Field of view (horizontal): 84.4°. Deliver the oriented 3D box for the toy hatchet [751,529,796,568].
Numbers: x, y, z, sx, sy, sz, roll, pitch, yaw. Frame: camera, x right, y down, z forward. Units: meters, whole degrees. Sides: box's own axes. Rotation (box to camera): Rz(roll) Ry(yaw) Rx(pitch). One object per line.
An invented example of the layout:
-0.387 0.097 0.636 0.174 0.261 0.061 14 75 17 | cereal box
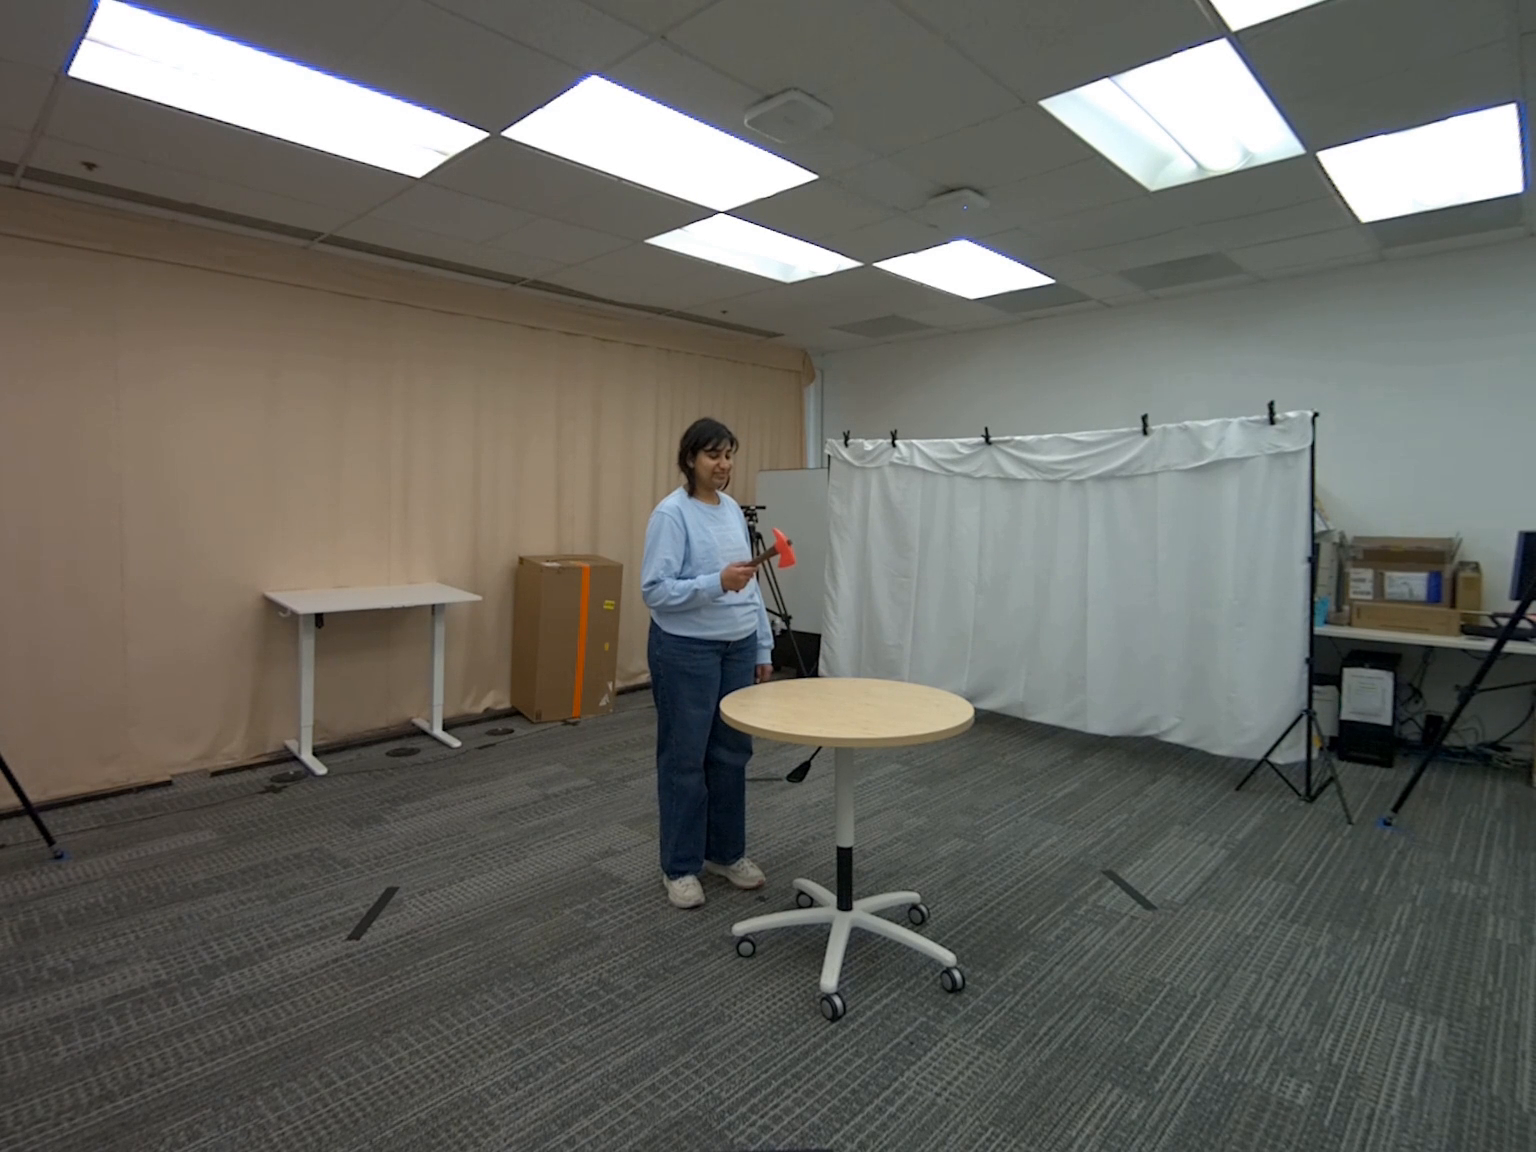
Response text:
-0.005 -0.025 2.742 0.133 0.271 0.029 47 26 12 | toy hatchet
